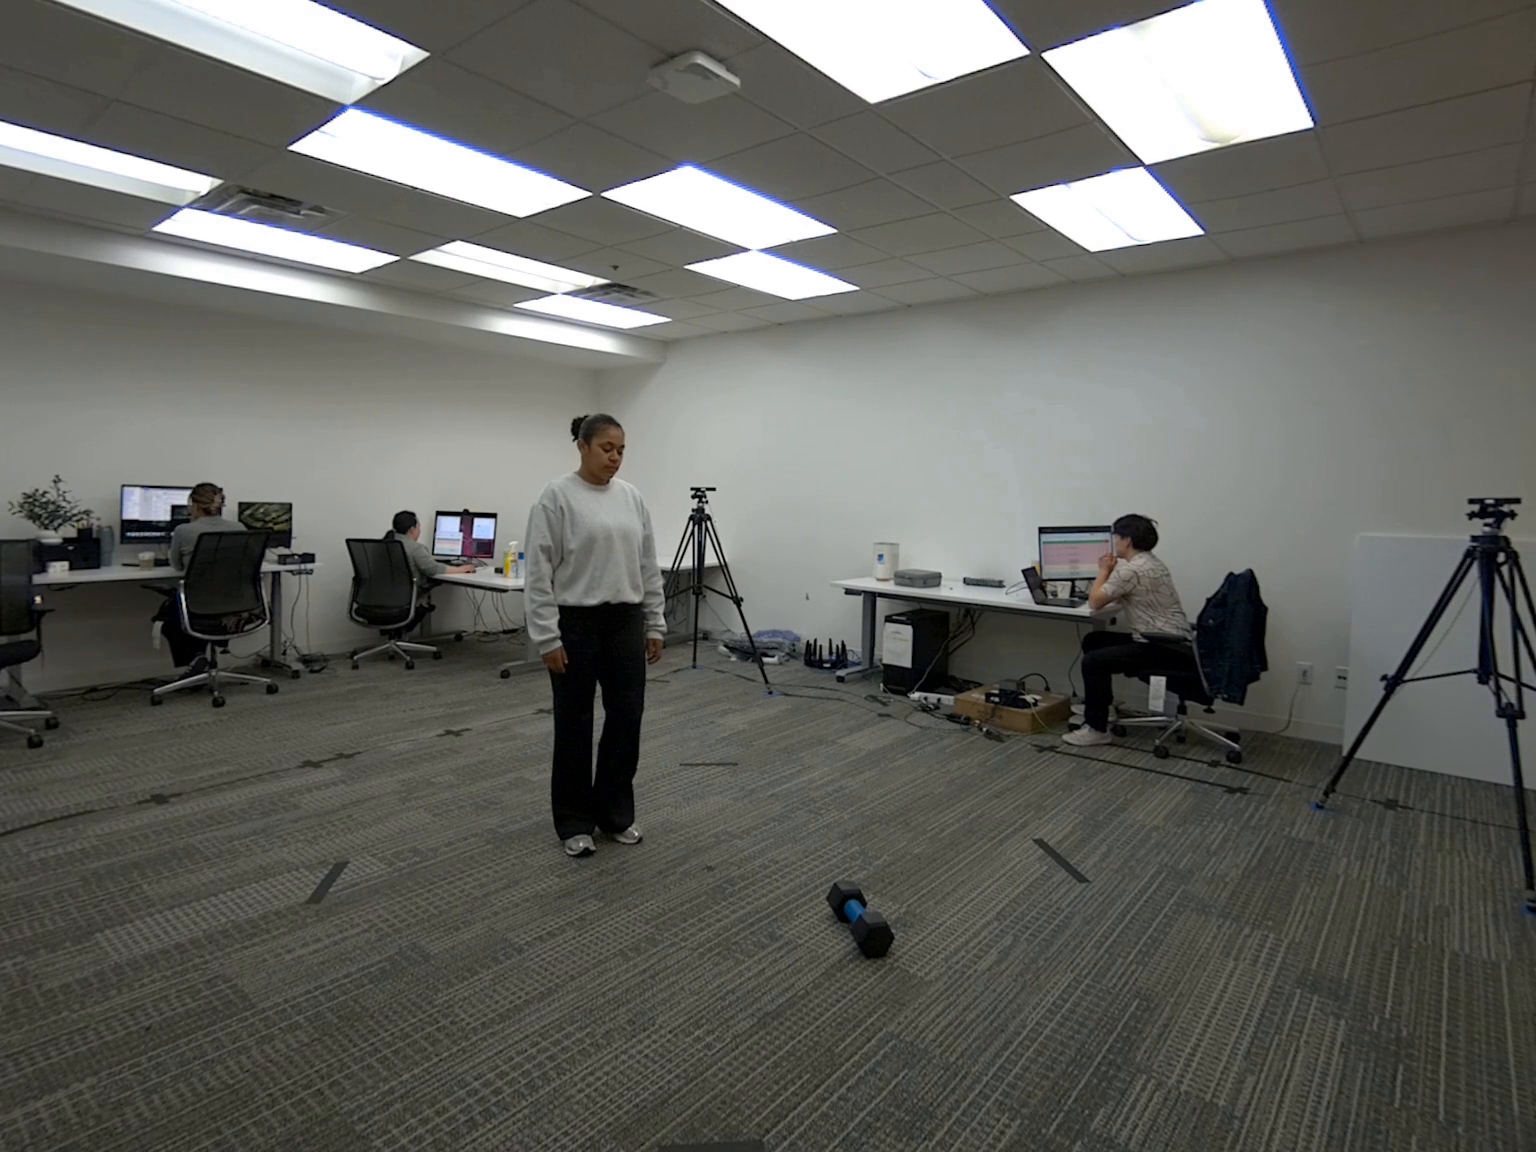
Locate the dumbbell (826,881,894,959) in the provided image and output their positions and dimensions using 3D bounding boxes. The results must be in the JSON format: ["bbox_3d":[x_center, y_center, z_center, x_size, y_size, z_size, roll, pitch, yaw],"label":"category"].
[{"bbox_3d":[0.278,1.068,2.668,0.106,0.123,0.299,30,-3,-16],"label":"dumbbell"}]
